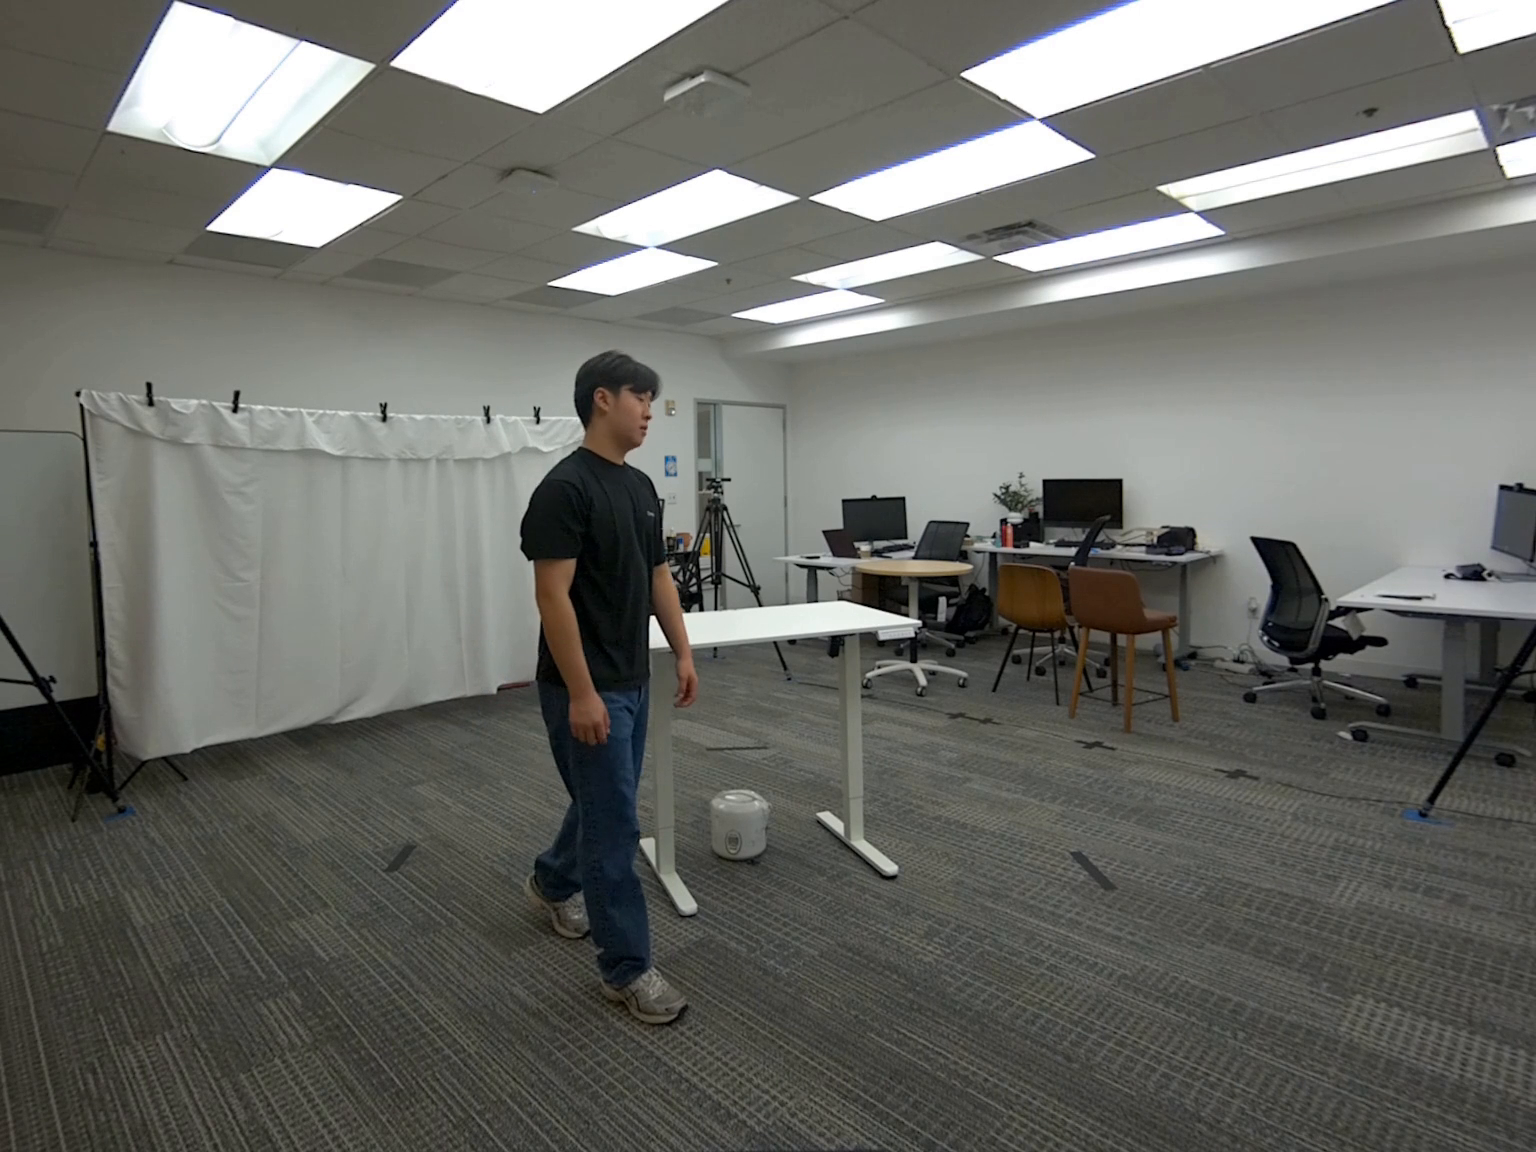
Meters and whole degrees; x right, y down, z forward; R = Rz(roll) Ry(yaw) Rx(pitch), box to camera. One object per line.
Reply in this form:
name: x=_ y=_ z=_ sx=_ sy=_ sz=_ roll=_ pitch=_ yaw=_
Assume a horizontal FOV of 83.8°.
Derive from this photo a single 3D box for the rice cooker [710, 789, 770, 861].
rice cooker: x=-0.105 y=0.915 z=3.198 sx=0.223 sy=0.232 sz=0.215 roll=0 pitch=4 yaw=11
